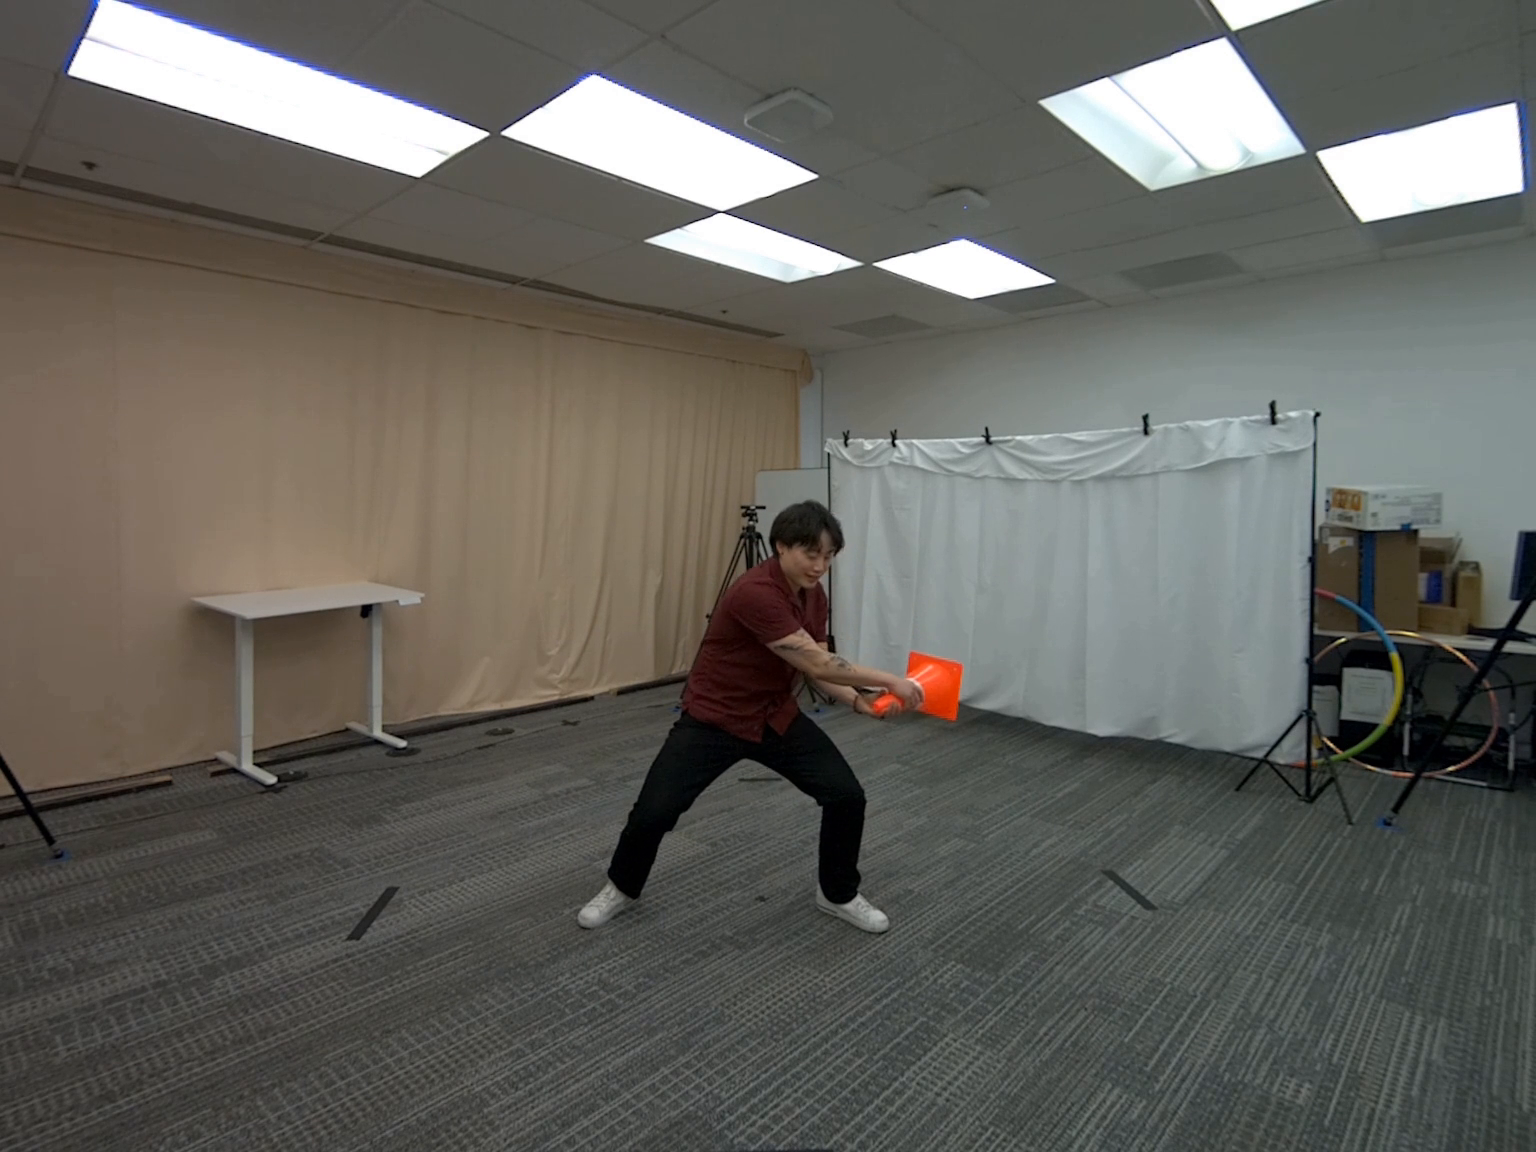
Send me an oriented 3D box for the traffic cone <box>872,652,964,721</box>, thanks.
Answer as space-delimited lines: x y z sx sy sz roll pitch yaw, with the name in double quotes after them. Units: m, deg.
0.444 0.388 2.732 0.212 0.202 0.372 12 12 40 "traffic cone"
